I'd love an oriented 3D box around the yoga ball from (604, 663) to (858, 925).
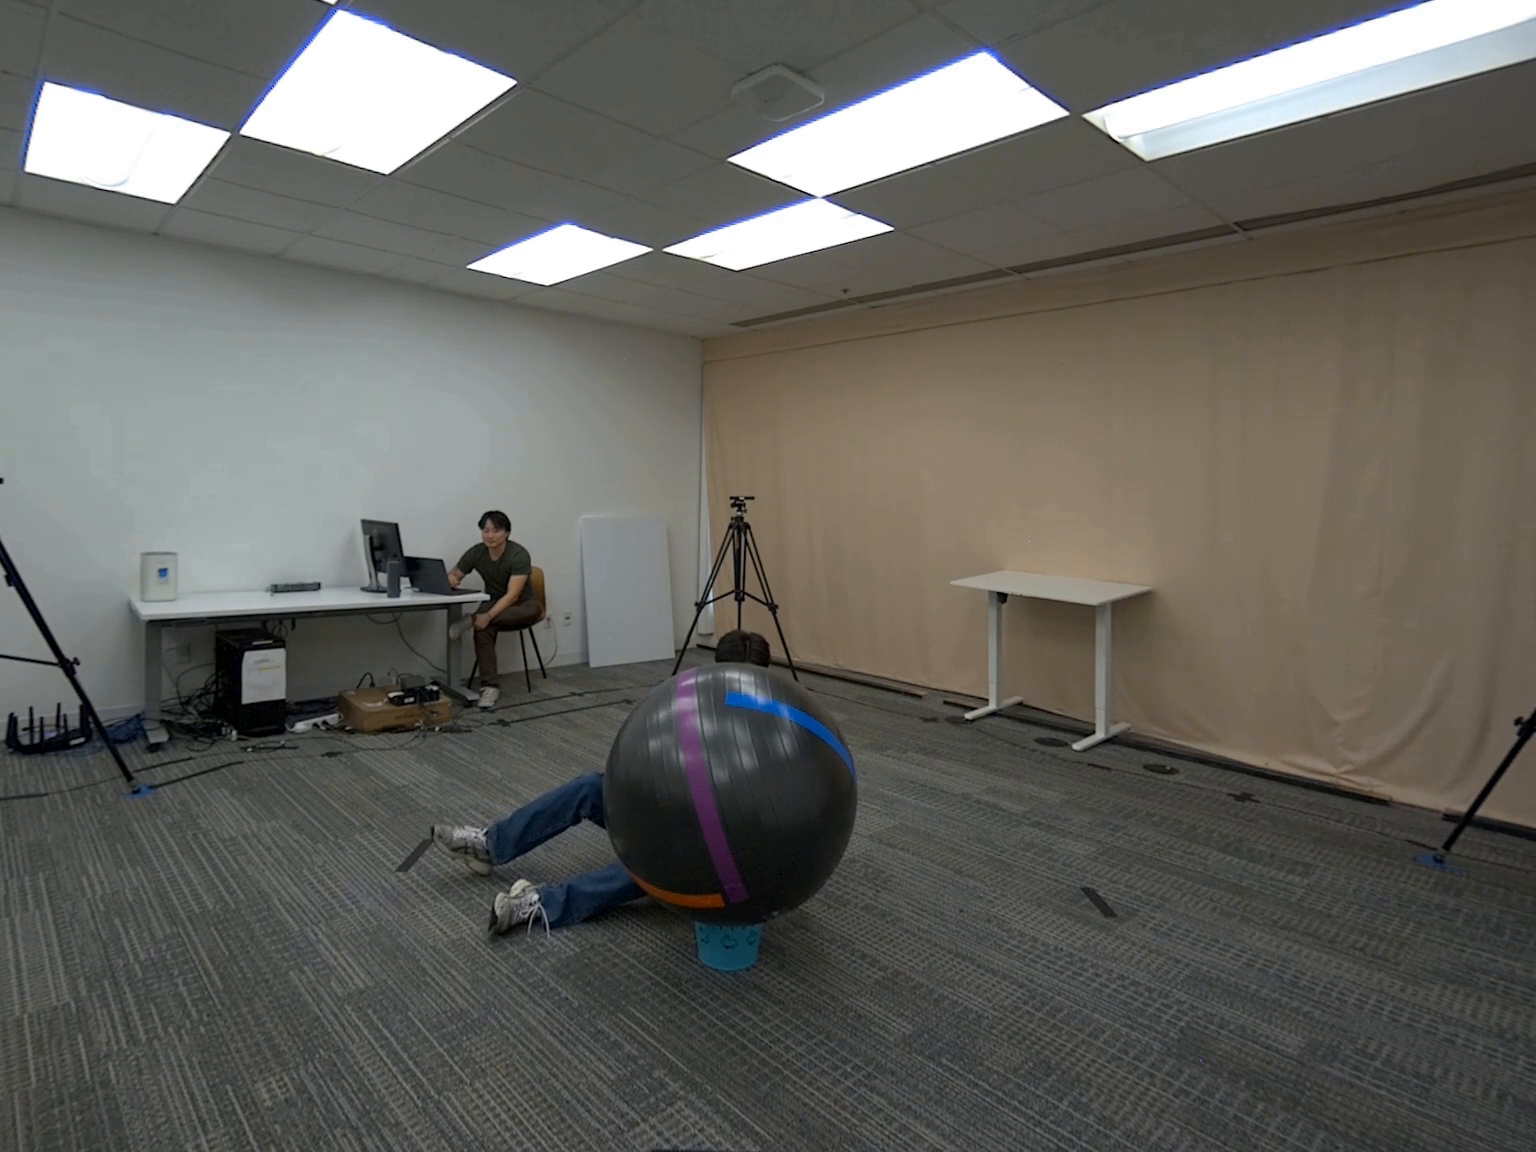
[{"bbox_3d":[-0.118,0.651,2.528,0.757,0.756,0.761,1,4,-1],"label":"yoga ball"}]
